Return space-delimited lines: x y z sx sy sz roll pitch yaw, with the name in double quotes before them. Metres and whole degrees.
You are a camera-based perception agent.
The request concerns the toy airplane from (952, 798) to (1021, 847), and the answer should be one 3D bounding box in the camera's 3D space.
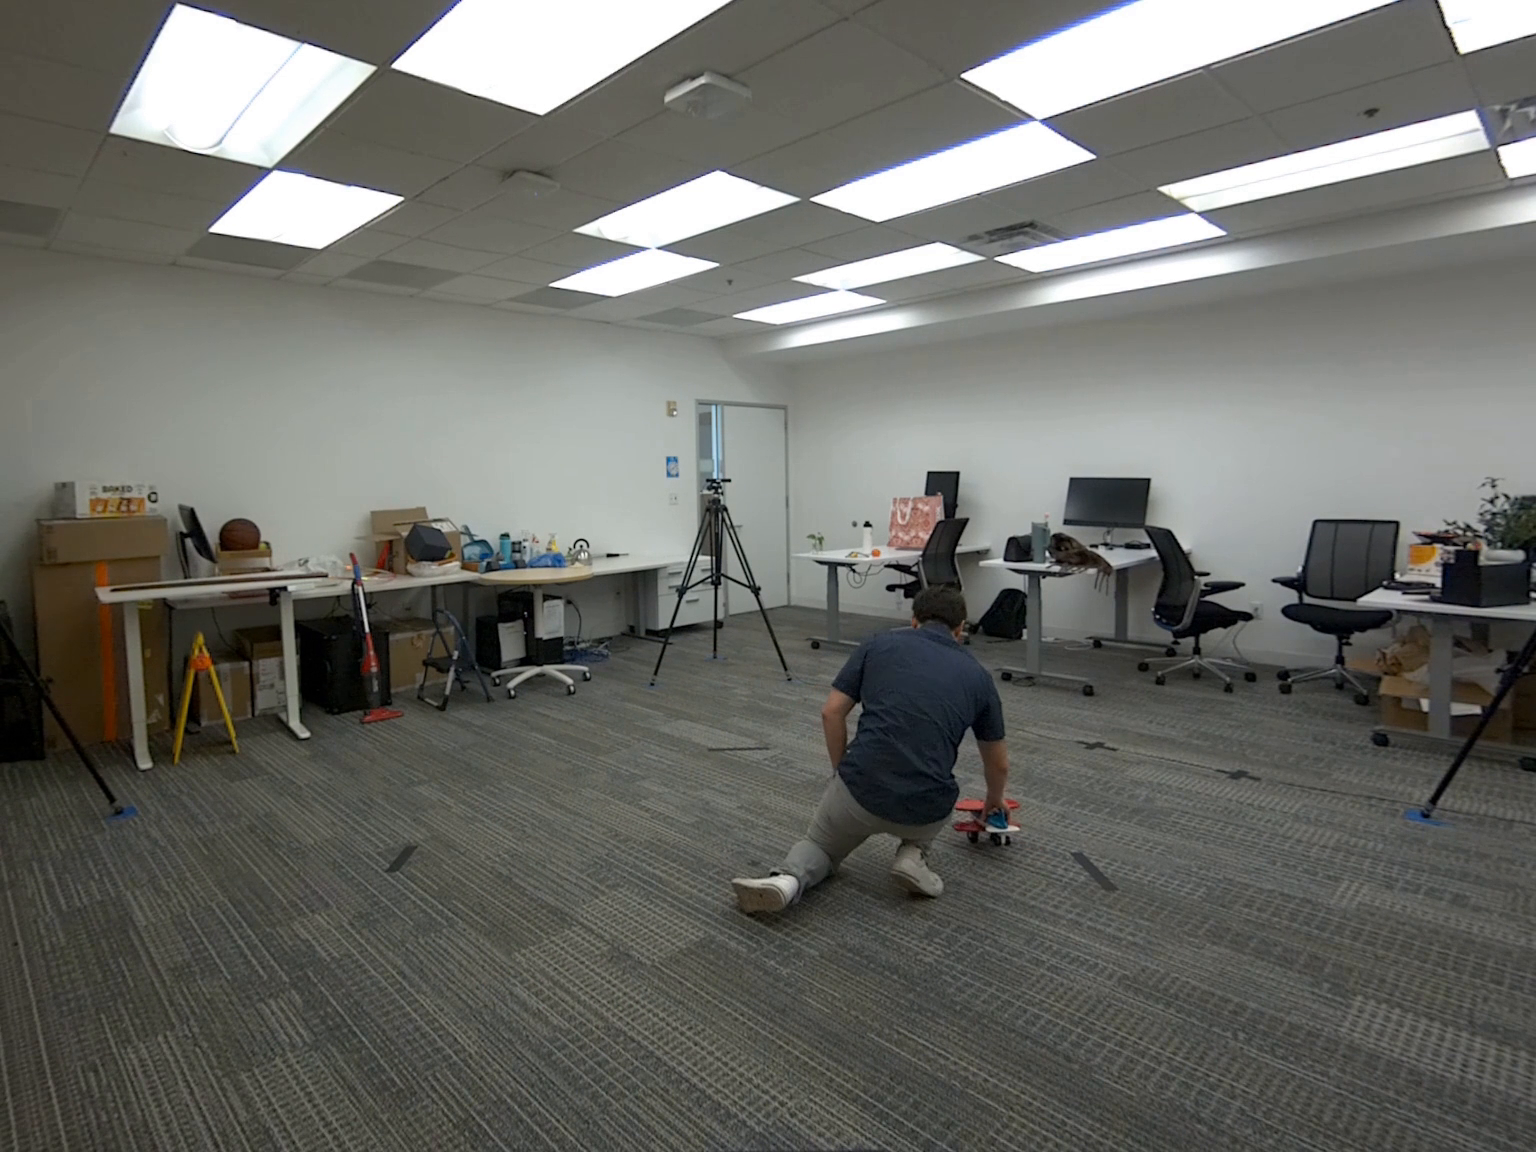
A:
"toy airplane" 0.855 0.925 3.198 0.244 0.158 0.263 7 -16 -34
